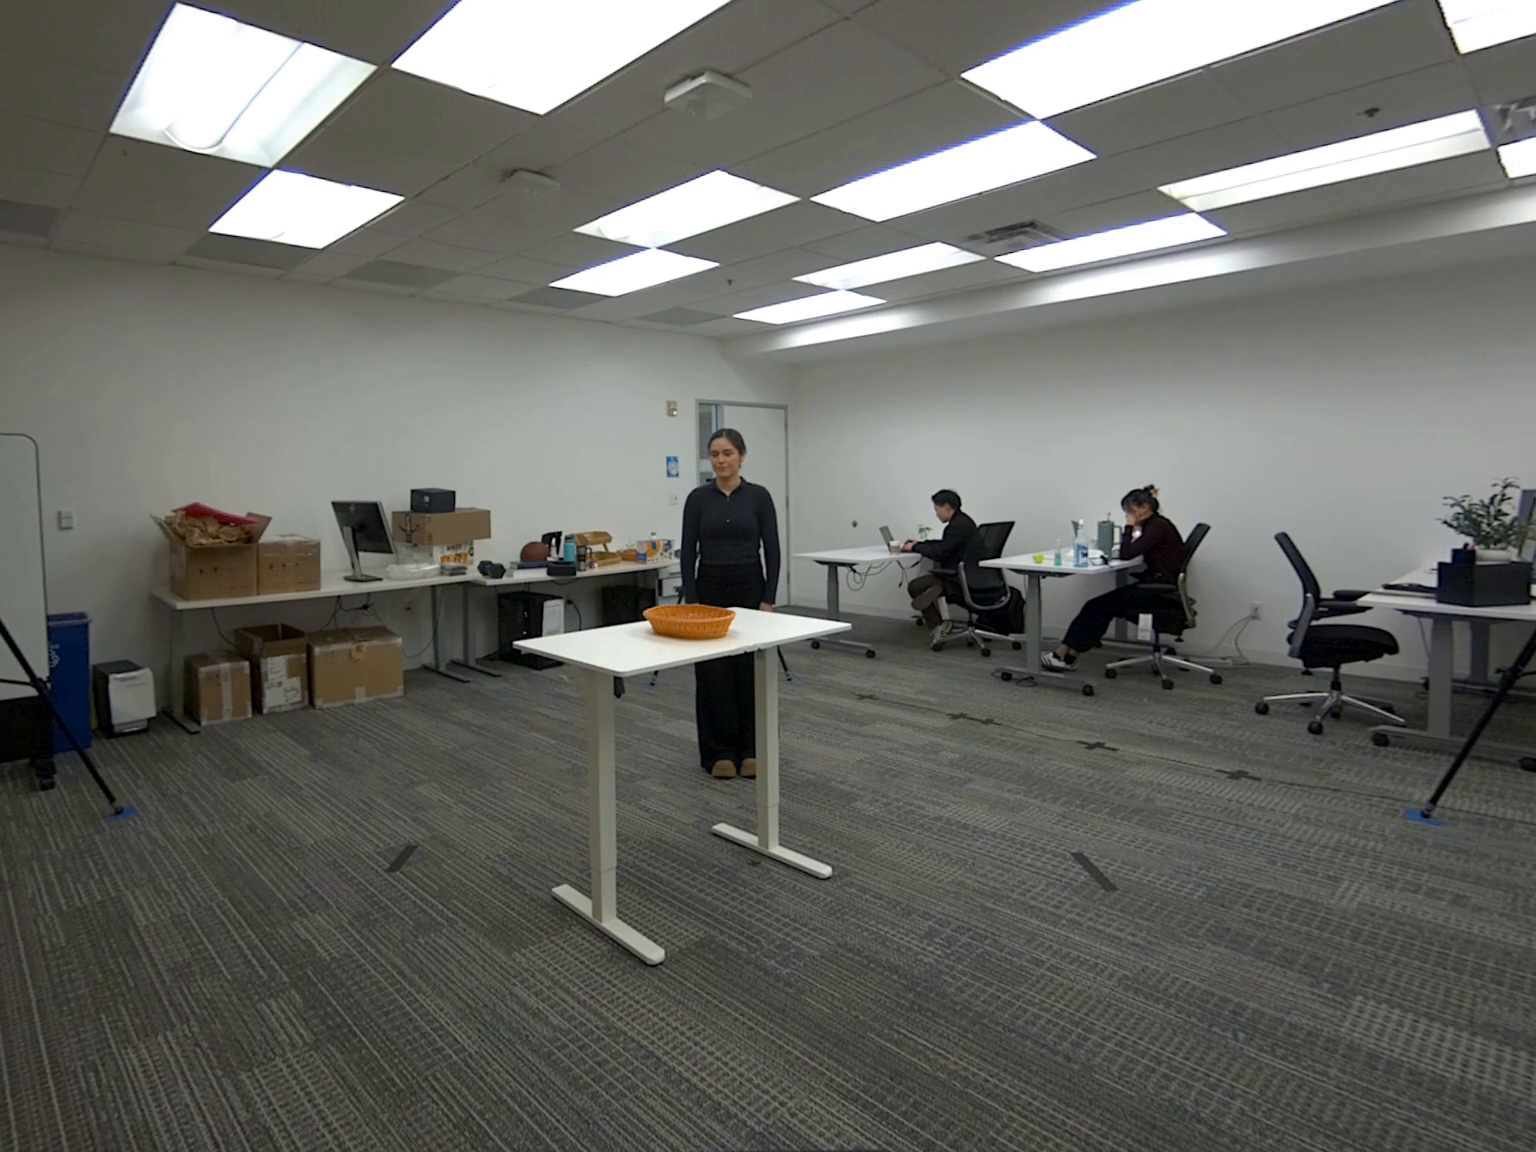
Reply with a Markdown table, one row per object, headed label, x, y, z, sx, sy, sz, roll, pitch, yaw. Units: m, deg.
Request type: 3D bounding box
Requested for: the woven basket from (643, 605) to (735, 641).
| label | x | y | z | sx | sy | sz | roll | pitch | yaw |
| --- | --- | --- | --- | --- | --- | --- | --- | --- | --- |
| woven basket | -0.274 | 0.164 | 2.881 | 0.246 | 0.073 | 0.361 | -7 | 9 | -40 |
